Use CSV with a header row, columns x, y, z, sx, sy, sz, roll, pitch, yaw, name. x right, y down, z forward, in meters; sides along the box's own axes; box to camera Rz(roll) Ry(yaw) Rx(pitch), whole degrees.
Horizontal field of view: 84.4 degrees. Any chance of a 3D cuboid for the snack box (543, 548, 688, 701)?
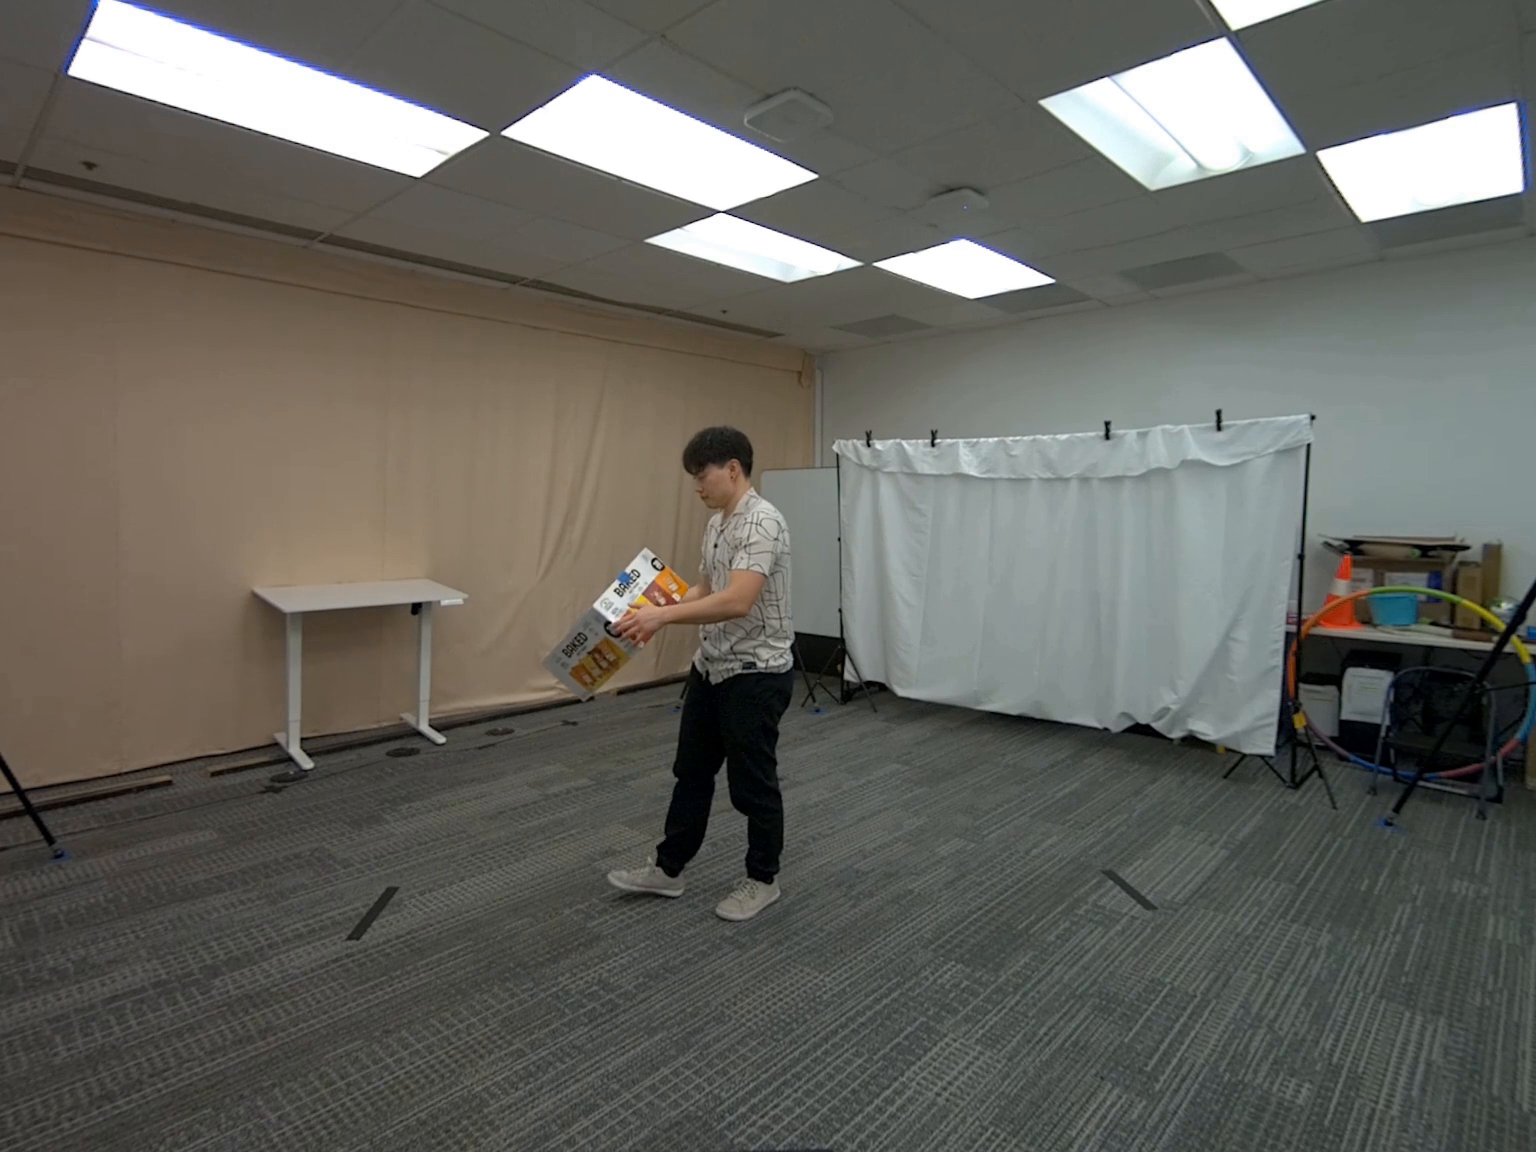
x,y,z,sx,sy,sz,roll,pitch,yaw,name
-0.517,0.165,2.823,0.409,0.204,0.339,-42,8,41,snack box
